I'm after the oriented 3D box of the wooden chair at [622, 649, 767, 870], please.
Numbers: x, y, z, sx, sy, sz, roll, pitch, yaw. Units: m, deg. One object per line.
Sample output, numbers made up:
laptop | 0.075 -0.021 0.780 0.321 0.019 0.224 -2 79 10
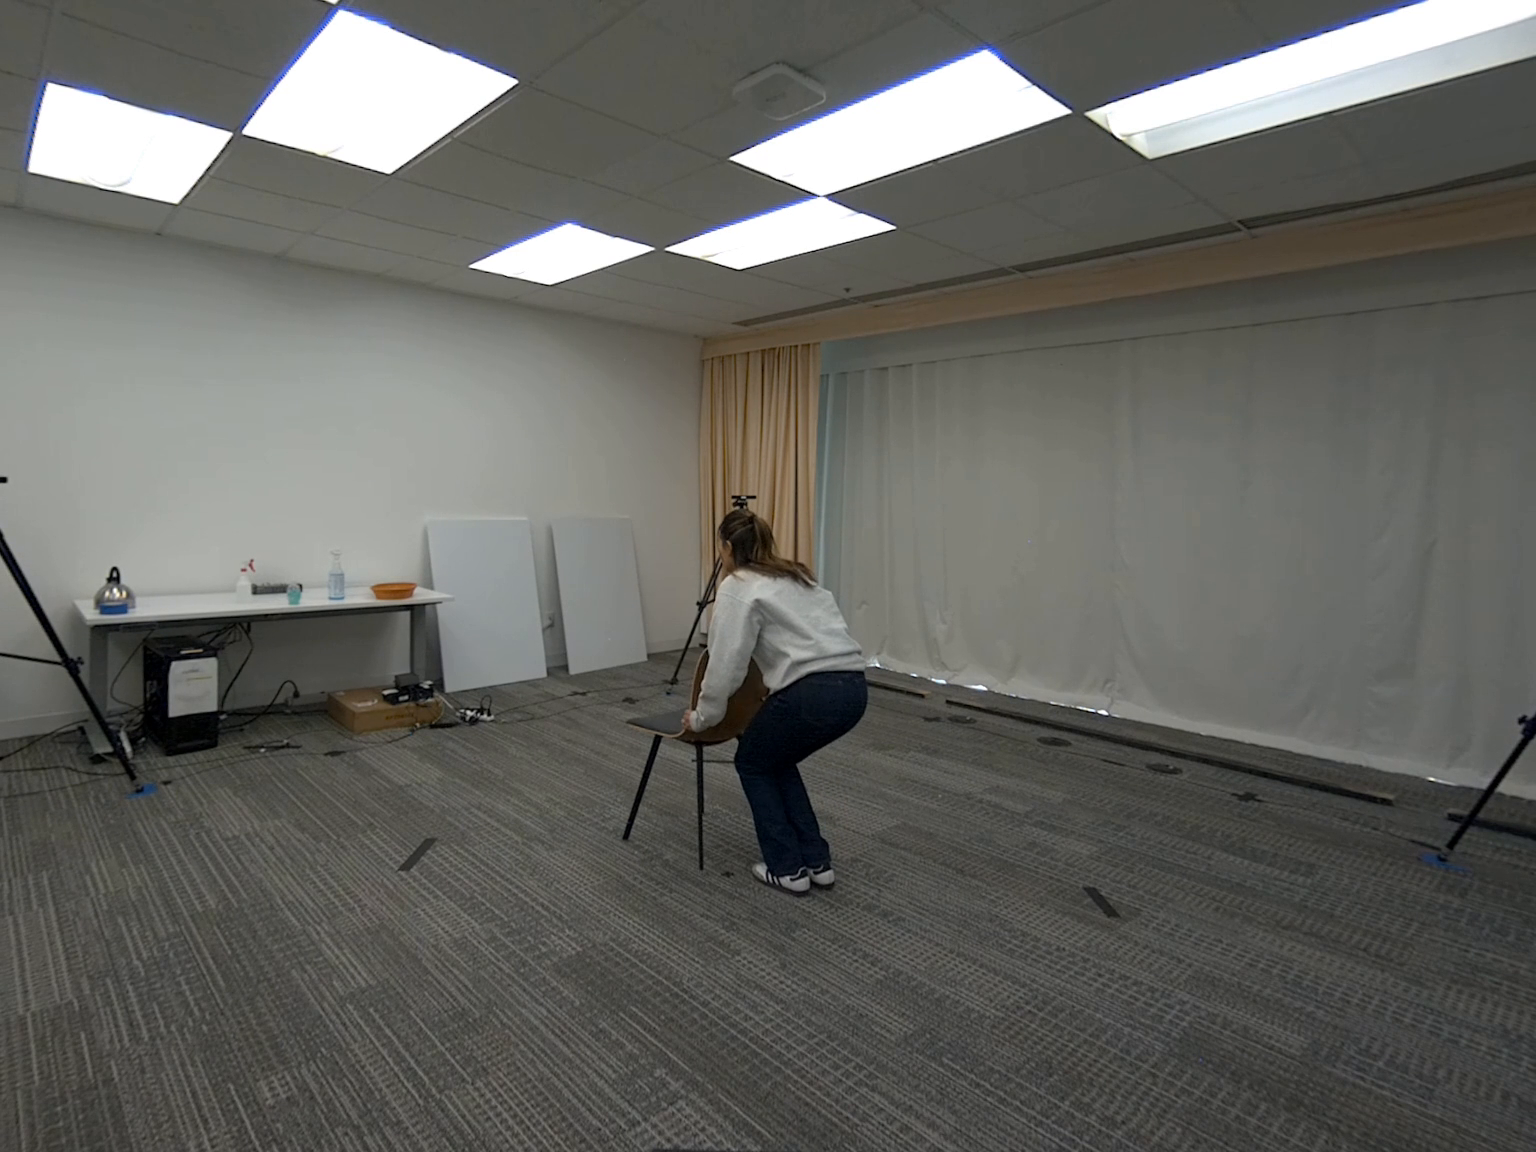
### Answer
wooden chair | -0.289 0.635 3.395 0.537 0.874 0.467 7 6 42
